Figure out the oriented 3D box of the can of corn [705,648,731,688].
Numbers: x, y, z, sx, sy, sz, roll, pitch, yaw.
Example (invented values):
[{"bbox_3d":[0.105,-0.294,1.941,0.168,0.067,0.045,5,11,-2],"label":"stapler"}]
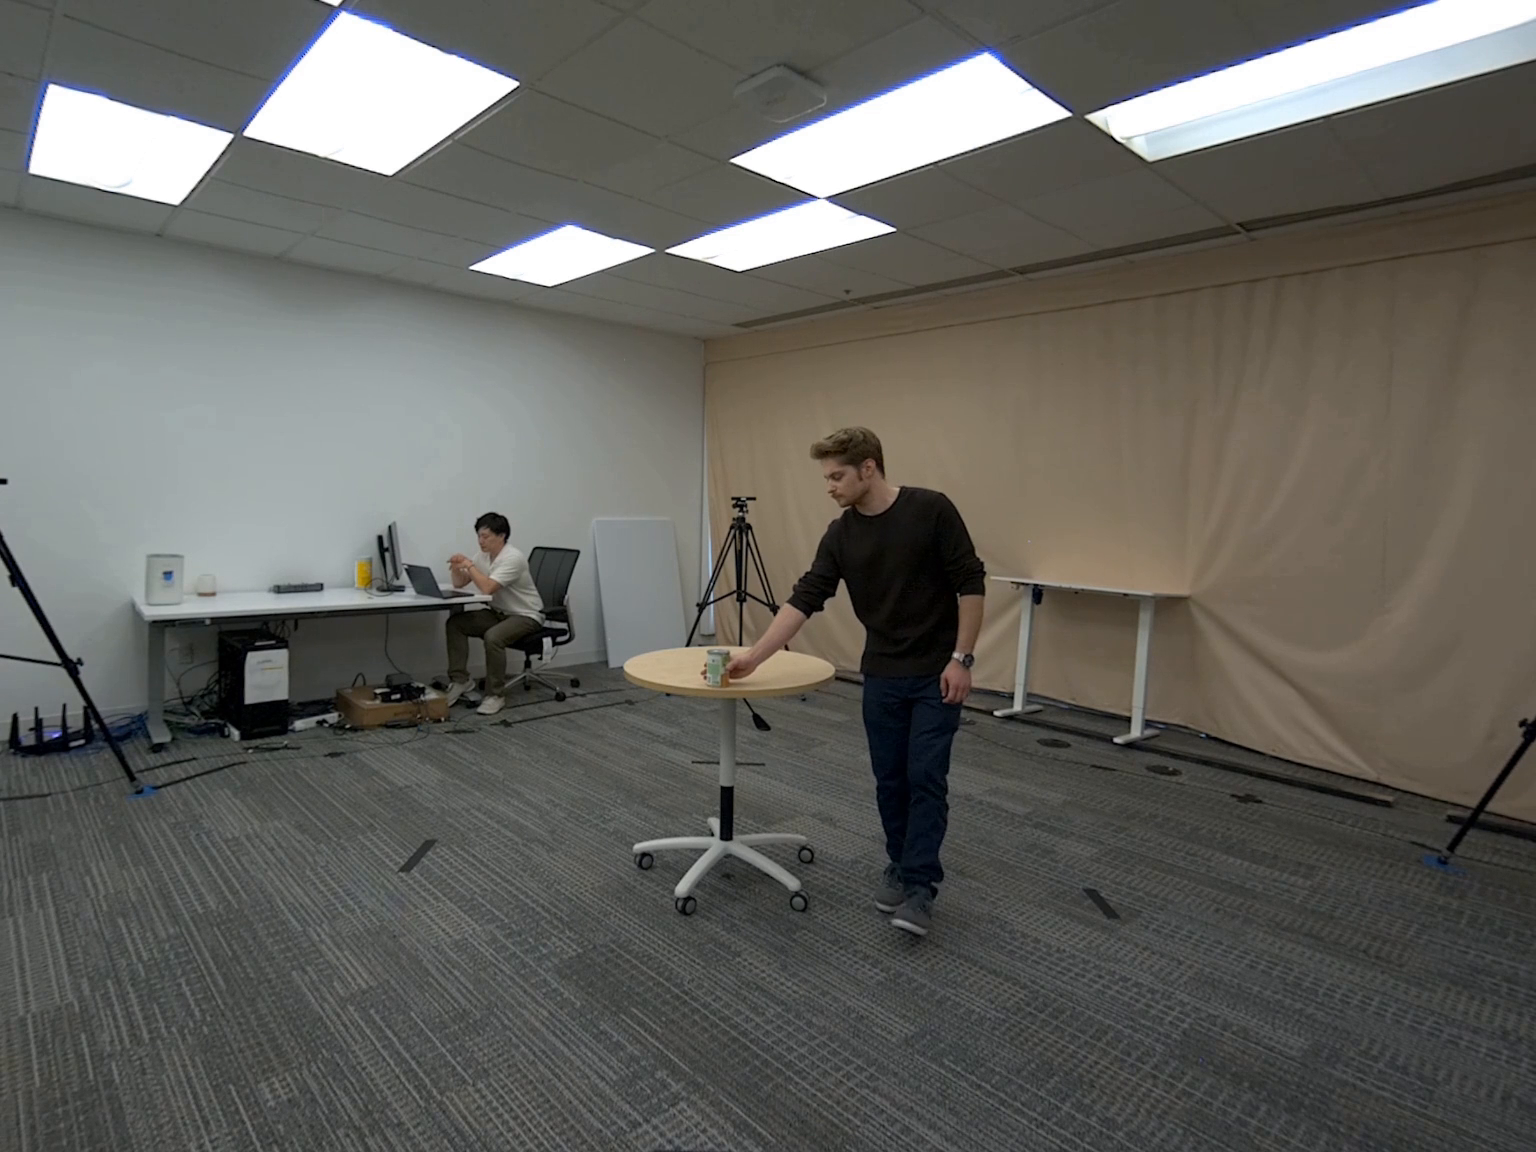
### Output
[{"bbox_3d":[-0.163,0.301,2.724,0.074,0.111,0.074,3,4,-2],"label":"can of corn"}]
